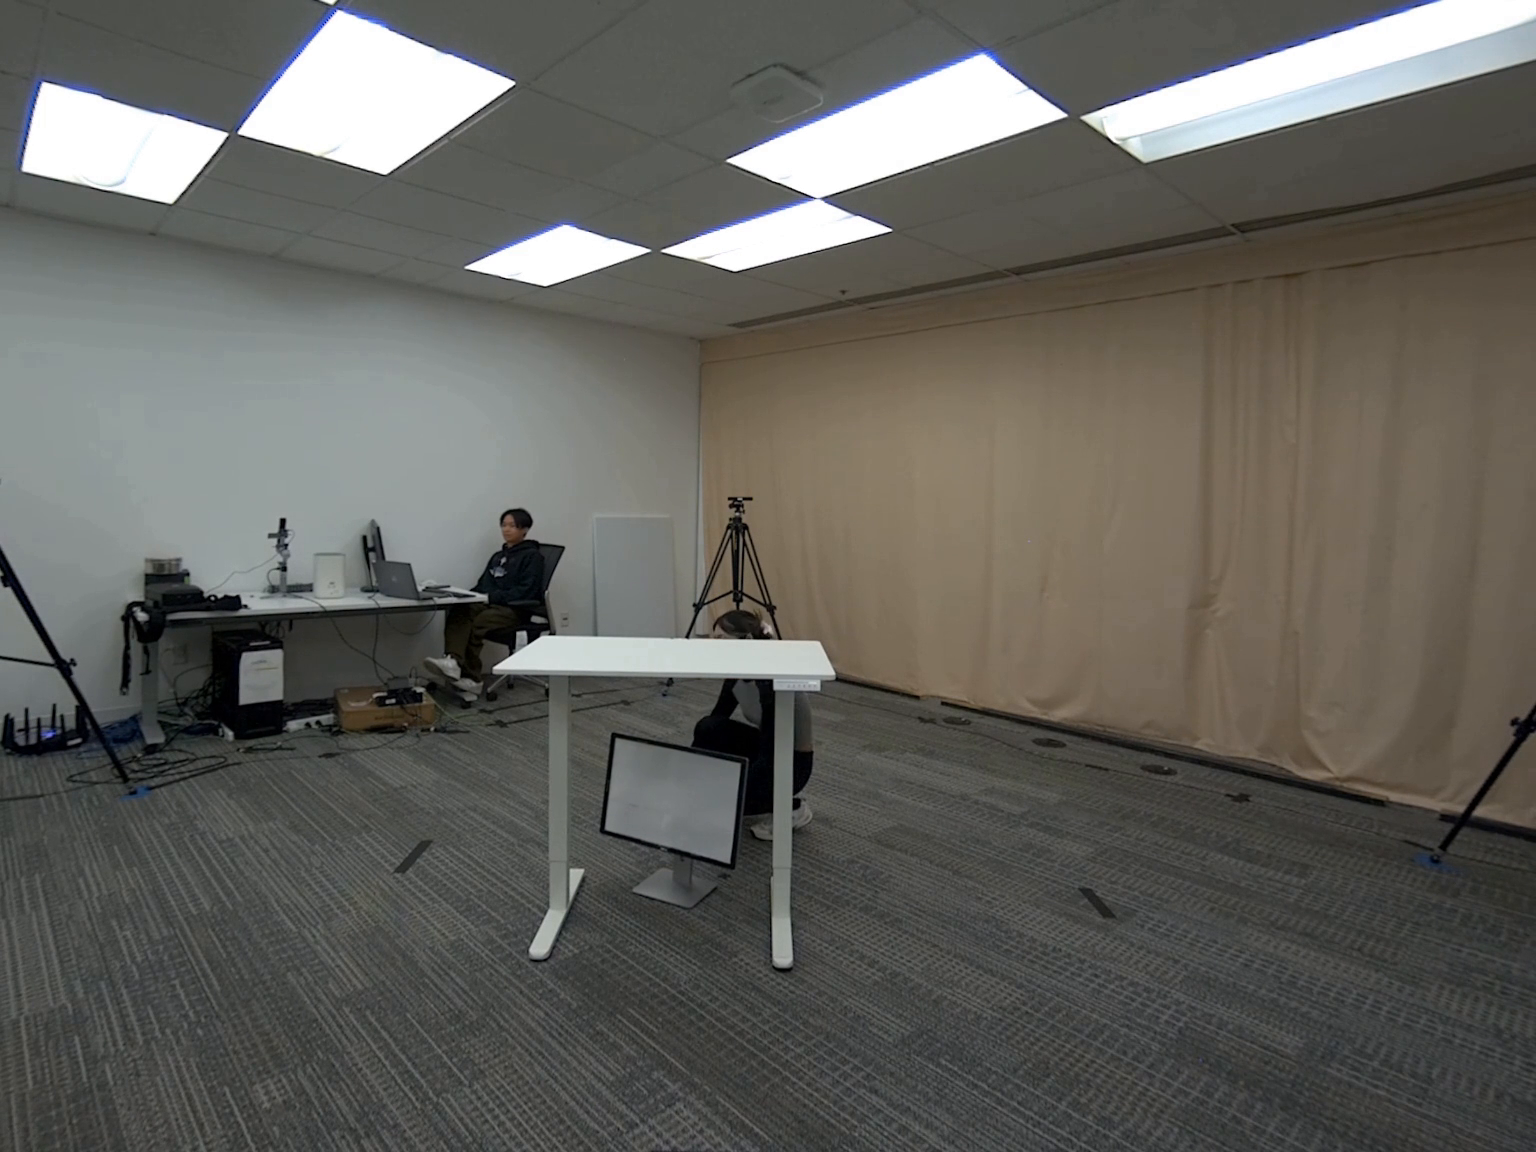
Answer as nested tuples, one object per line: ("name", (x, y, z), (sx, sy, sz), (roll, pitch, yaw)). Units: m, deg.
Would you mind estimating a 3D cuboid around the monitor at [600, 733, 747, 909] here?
("monitor", (-0.330, 0.857, 2.971), (0.550, 0.520, 0.184), (3, 6, 27))
